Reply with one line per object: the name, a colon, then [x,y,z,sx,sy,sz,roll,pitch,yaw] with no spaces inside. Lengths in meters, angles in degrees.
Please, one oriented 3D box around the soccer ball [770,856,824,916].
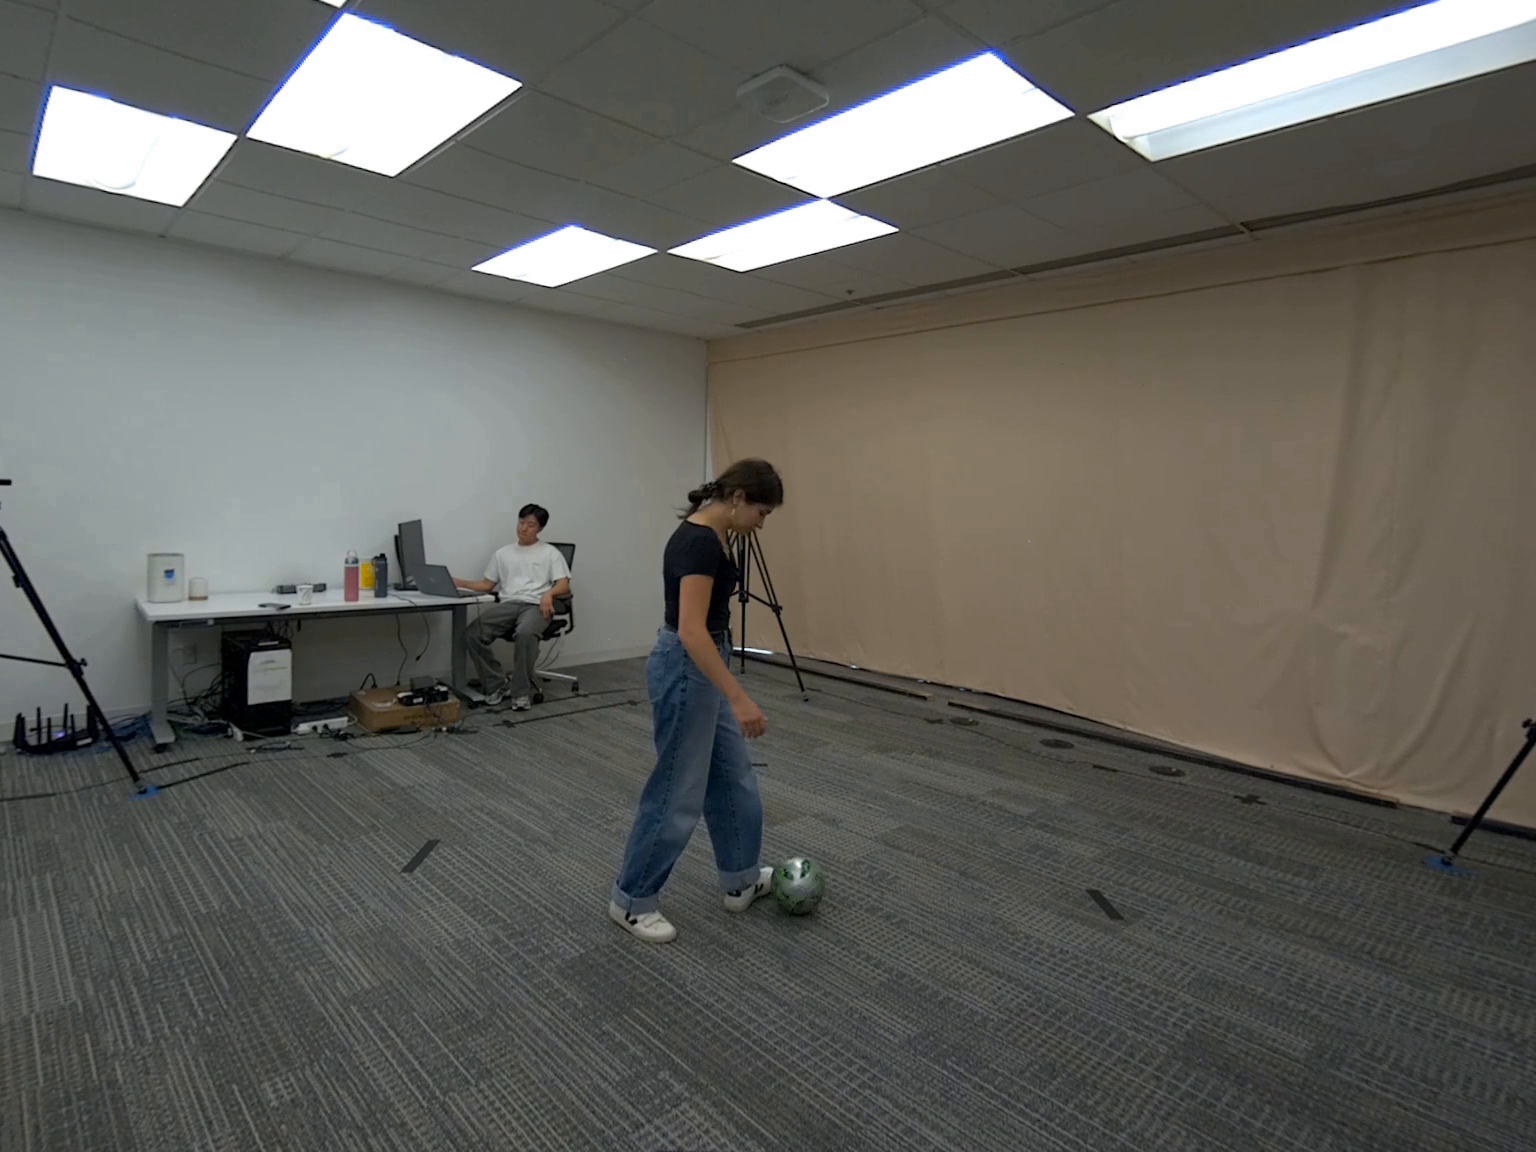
soccer ball: [0.092,1.045,2.833,0.187,0.187,0.188,1,4,-1]
